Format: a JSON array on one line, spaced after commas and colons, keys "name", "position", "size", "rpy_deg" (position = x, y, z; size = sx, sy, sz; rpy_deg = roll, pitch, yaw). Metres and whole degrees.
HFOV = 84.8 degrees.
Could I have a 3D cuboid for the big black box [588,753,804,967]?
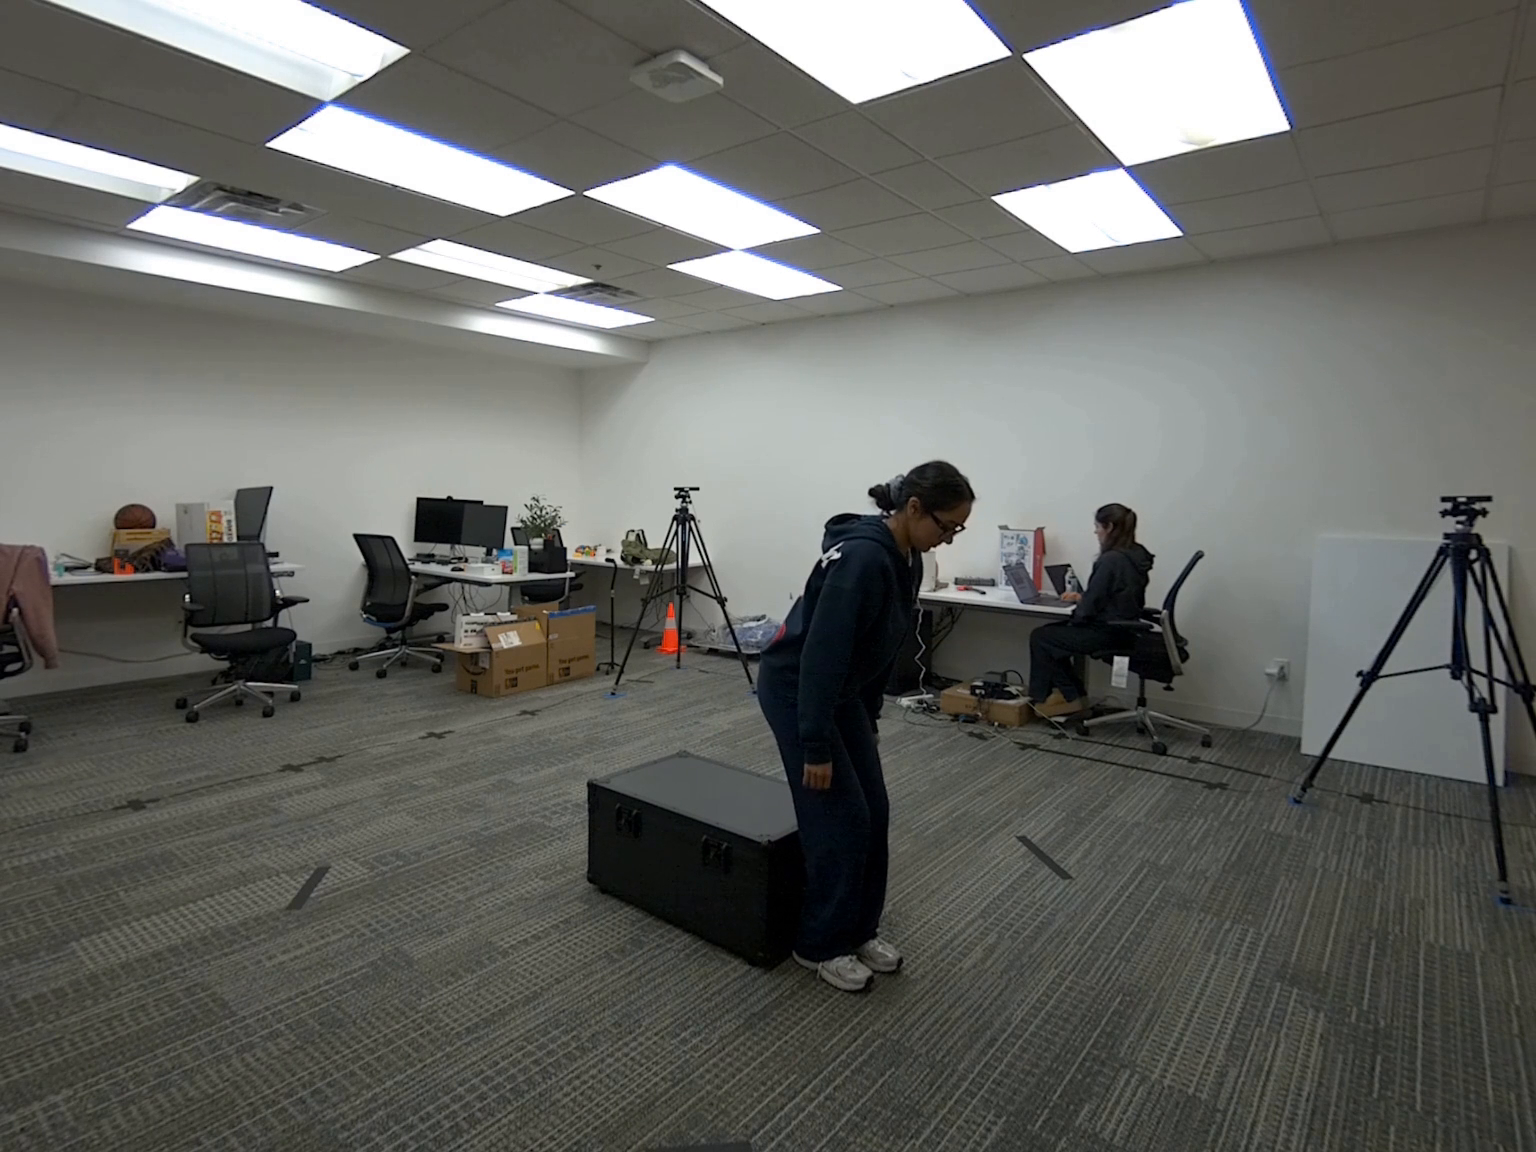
[{"name": "big black box", "position": [-0.202, 0.898, 2.881], "size": [0.891, 0.395, 0.506], "rpy_deg": [6, 6, 38]}]
